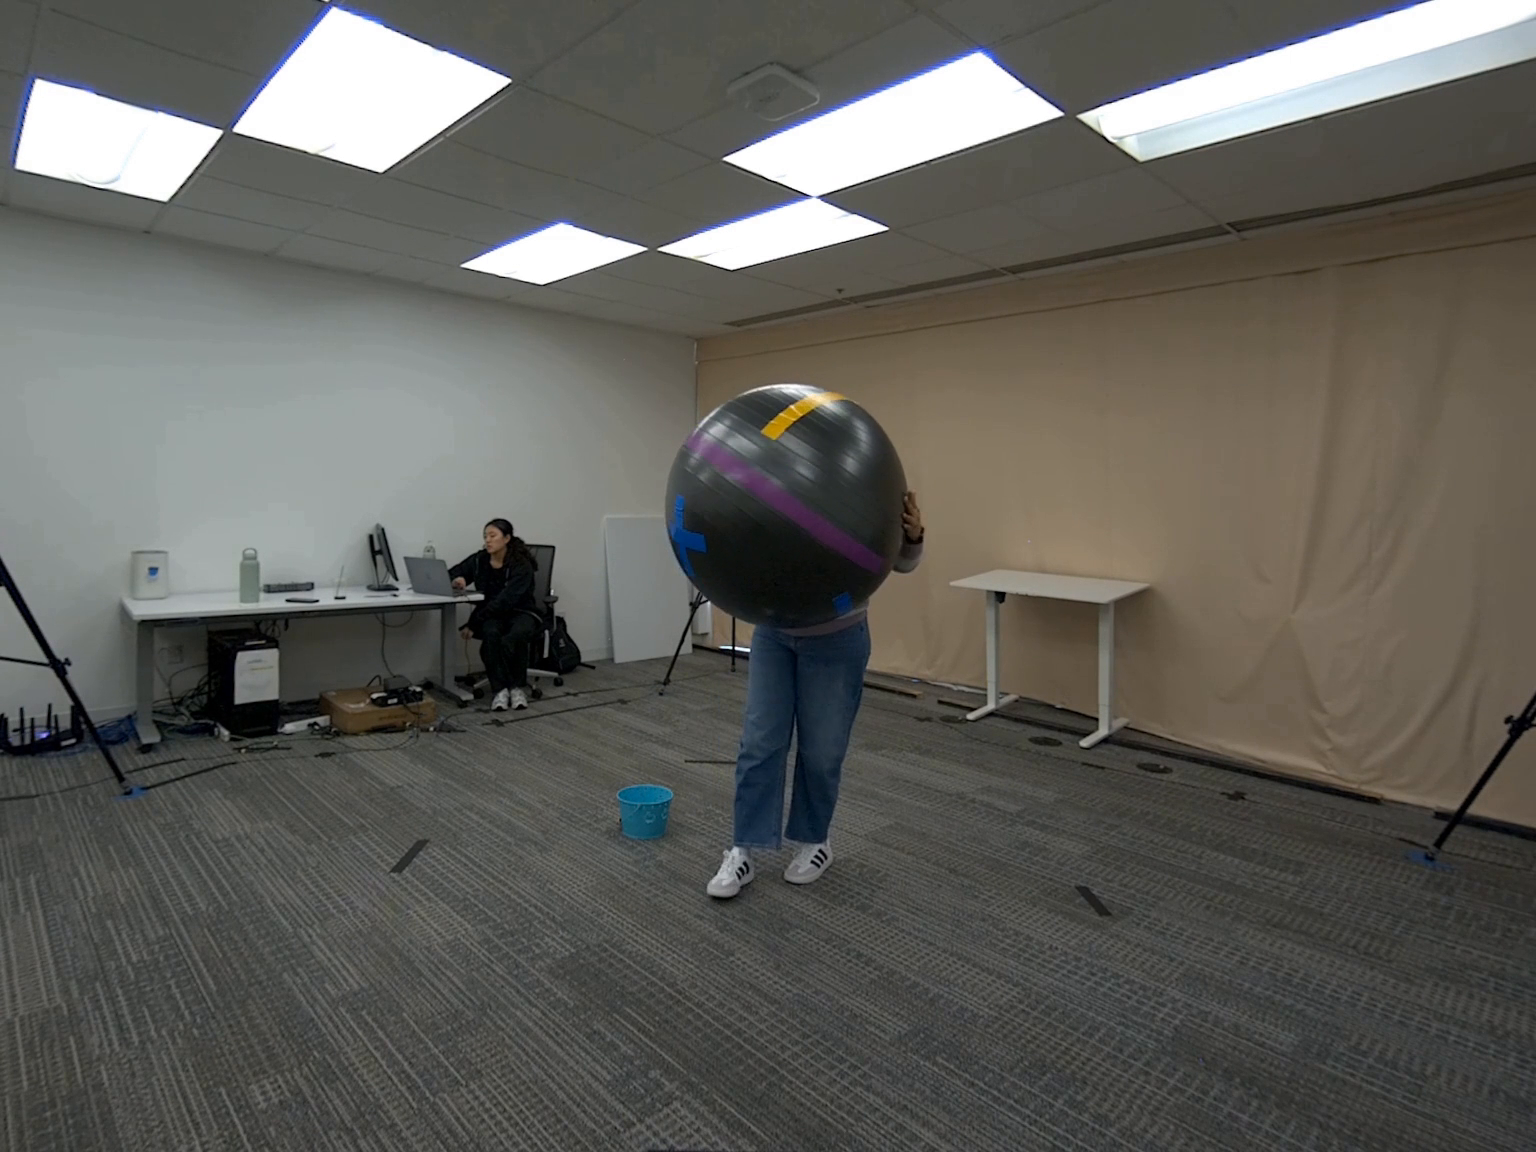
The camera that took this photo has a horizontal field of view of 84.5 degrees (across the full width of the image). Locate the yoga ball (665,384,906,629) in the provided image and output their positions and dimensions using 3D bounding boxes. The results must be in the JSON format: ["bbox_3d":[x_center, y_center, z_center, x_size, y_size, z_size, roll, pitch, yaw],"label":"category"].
[{"bbox_3d":[0.053,-0.210,2.629,0.757,0.756,0.761,1,4,-1],"label":"yoga ball"}]
